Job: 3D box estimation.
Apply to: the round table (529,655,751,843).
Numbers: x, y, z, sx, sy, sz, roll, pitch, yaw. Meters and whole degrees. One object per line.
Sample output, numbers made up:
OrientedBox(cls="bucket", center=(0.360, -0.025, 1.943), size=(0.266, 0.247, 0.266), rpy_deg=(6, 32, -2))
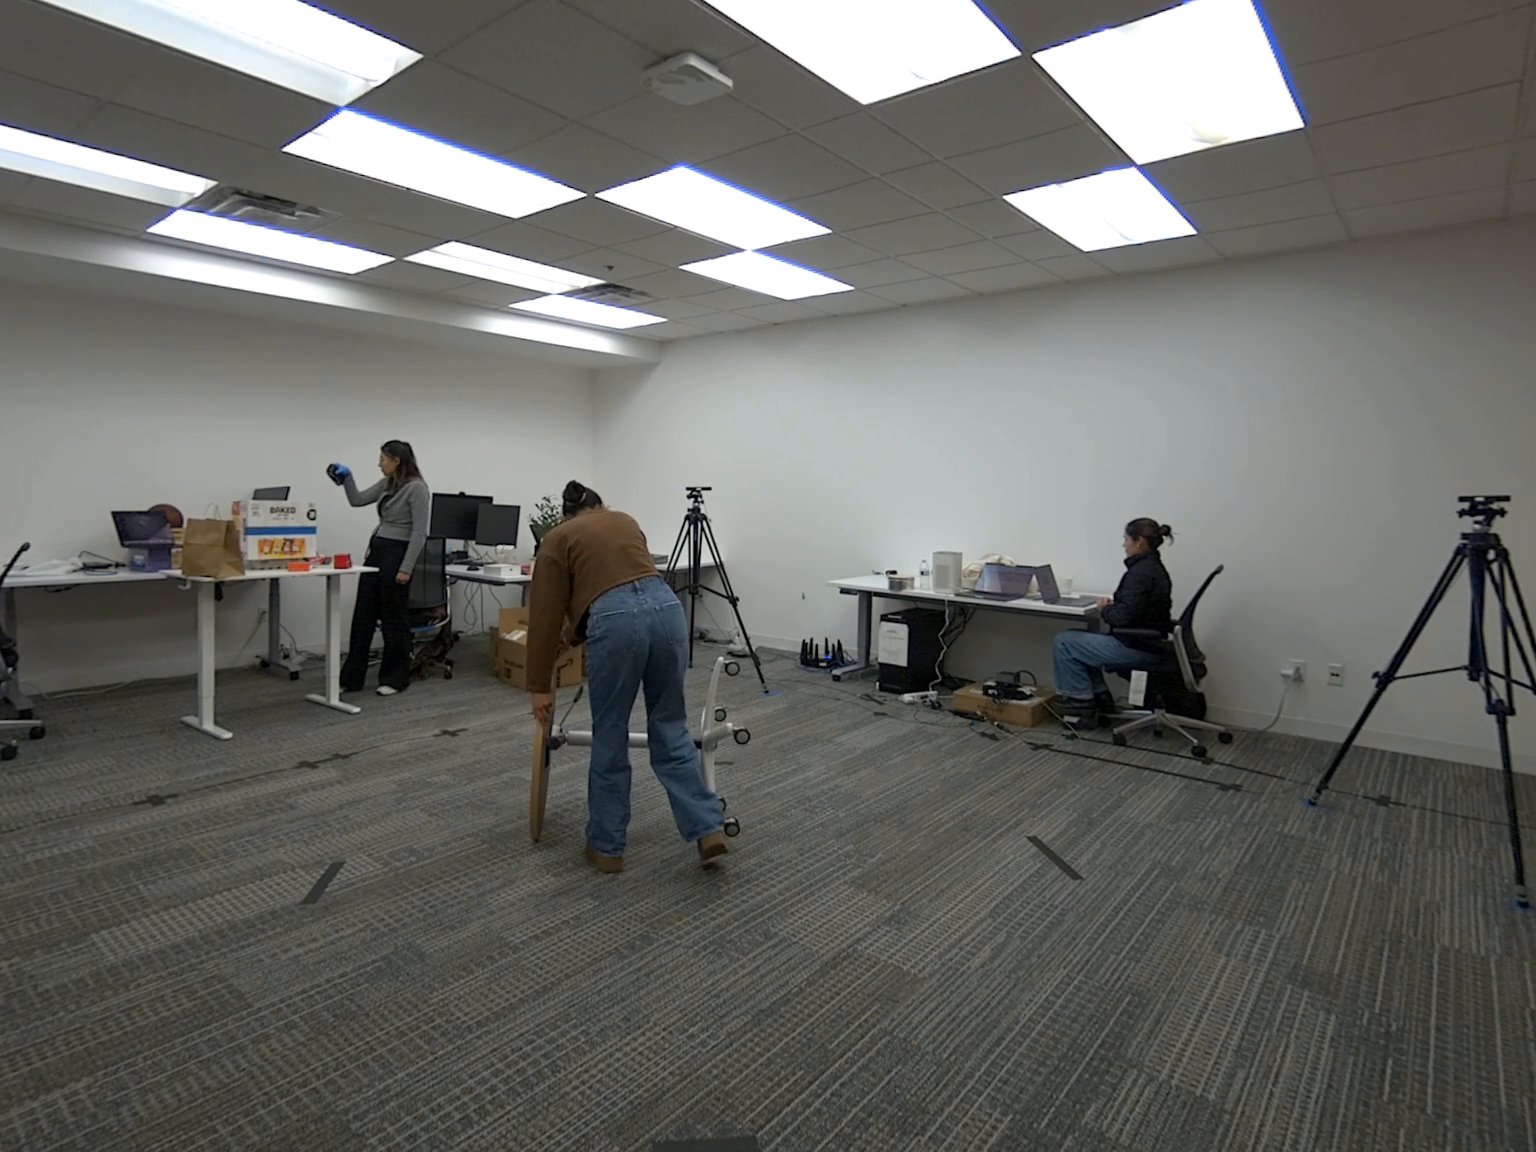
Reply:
OrientedBox(cls="round table", center=(-0.534, 0.670, 3.461), size=(0.786, 0.762, 0.774), rpy_deg=(4, 3, -9))
